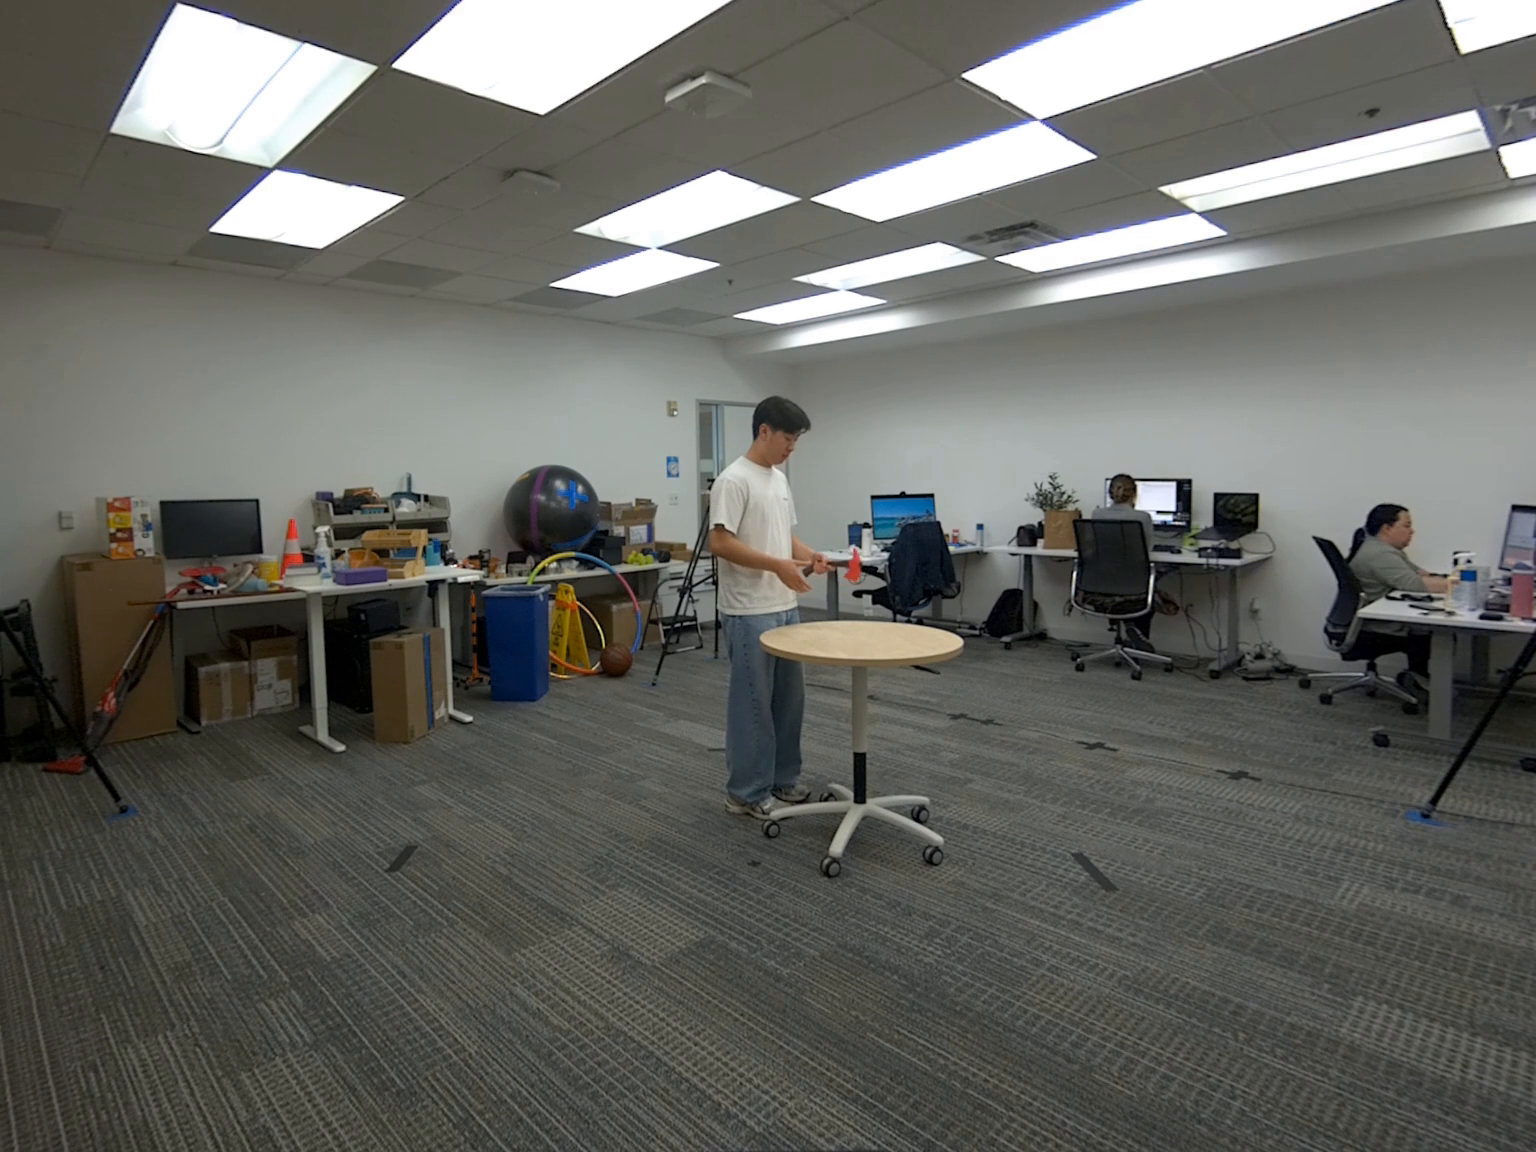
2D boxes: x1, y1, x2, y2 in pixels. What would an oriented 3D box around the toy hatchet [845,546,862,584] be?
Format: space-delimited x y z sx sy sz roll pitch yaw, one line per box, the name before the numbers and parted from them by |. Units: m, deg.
toy hatchet | 0.254 -0.027 3.526 0.274 0.132 0.029 -21 -7 31
